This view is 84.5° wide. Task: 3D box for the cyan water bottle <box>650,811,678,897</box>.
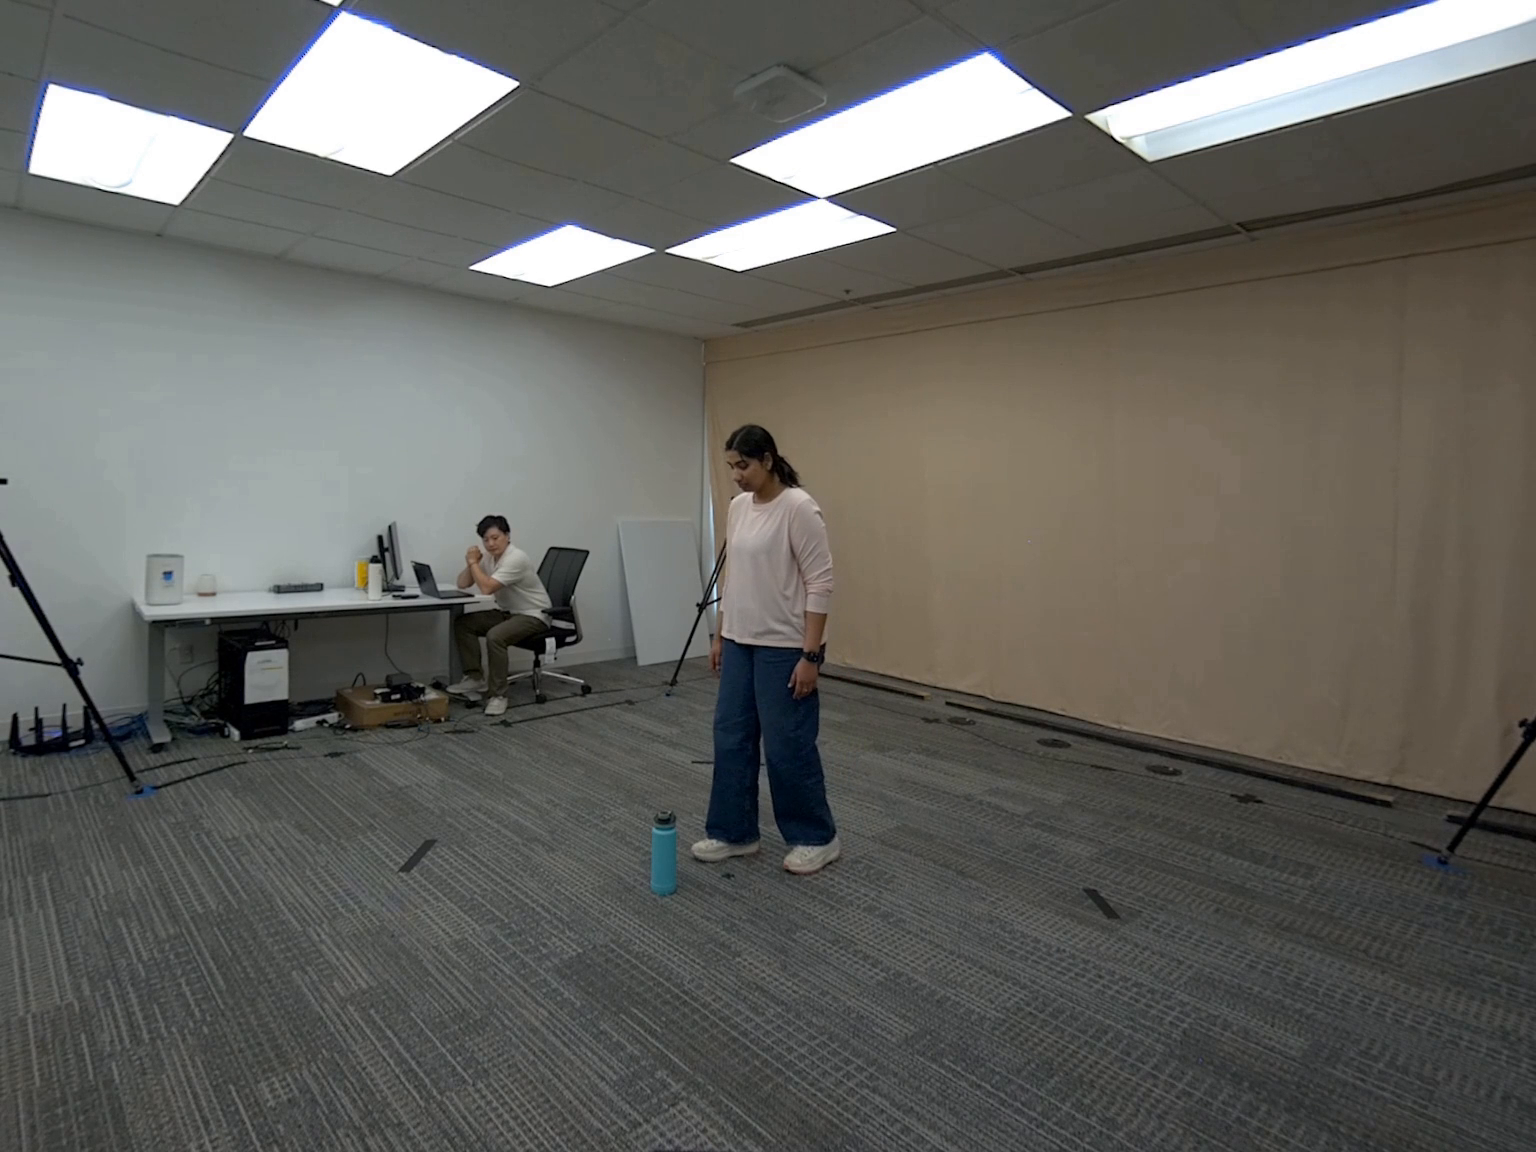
[{"bbox_3d":[-0.374,0.974,2.979,0.092,0.283,0.092,2,2,-1],"label":"cyan water bottle"}]
